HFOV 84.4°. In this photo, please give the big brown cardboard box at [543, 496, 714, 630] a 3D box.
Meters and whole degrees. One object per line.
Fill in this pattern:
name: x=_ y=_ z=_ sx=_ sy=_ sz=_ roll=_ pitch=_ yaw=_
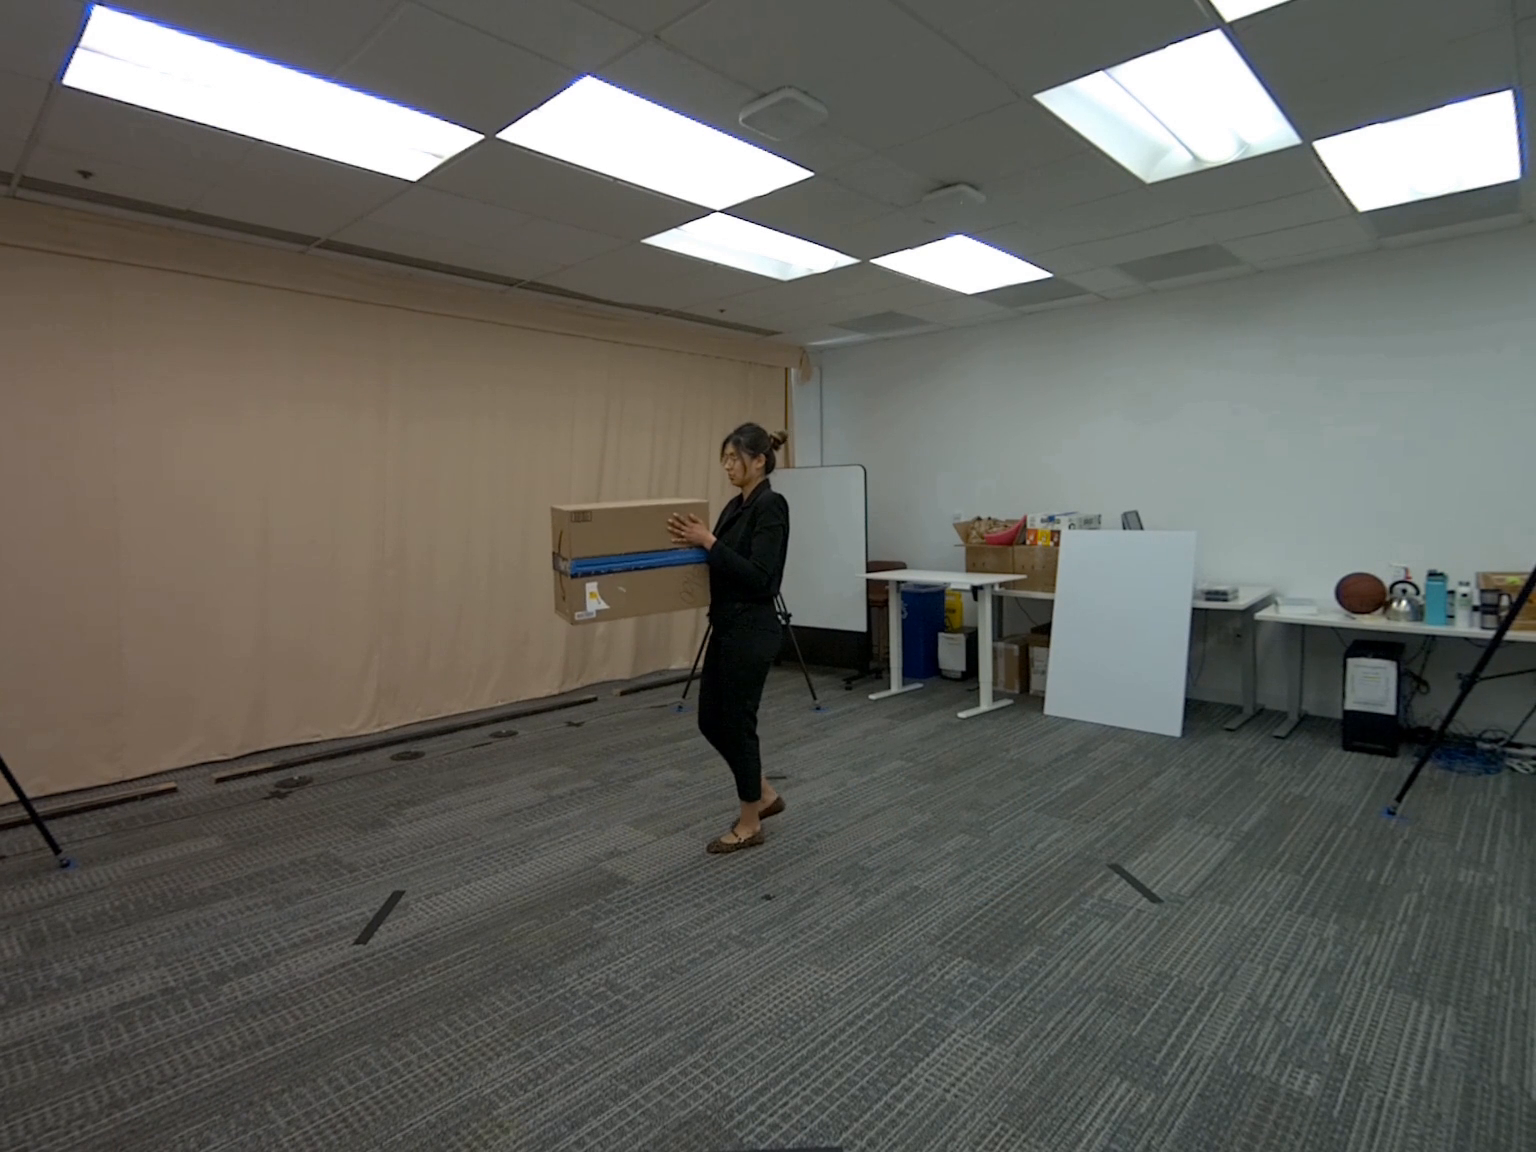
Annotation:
big brown cardboard box: x=-0.521 y=-0.067 z=3.220 sx=0.574 sy=0.415 sz=0.240 roll=-7 pitch=11 yaw=-29
